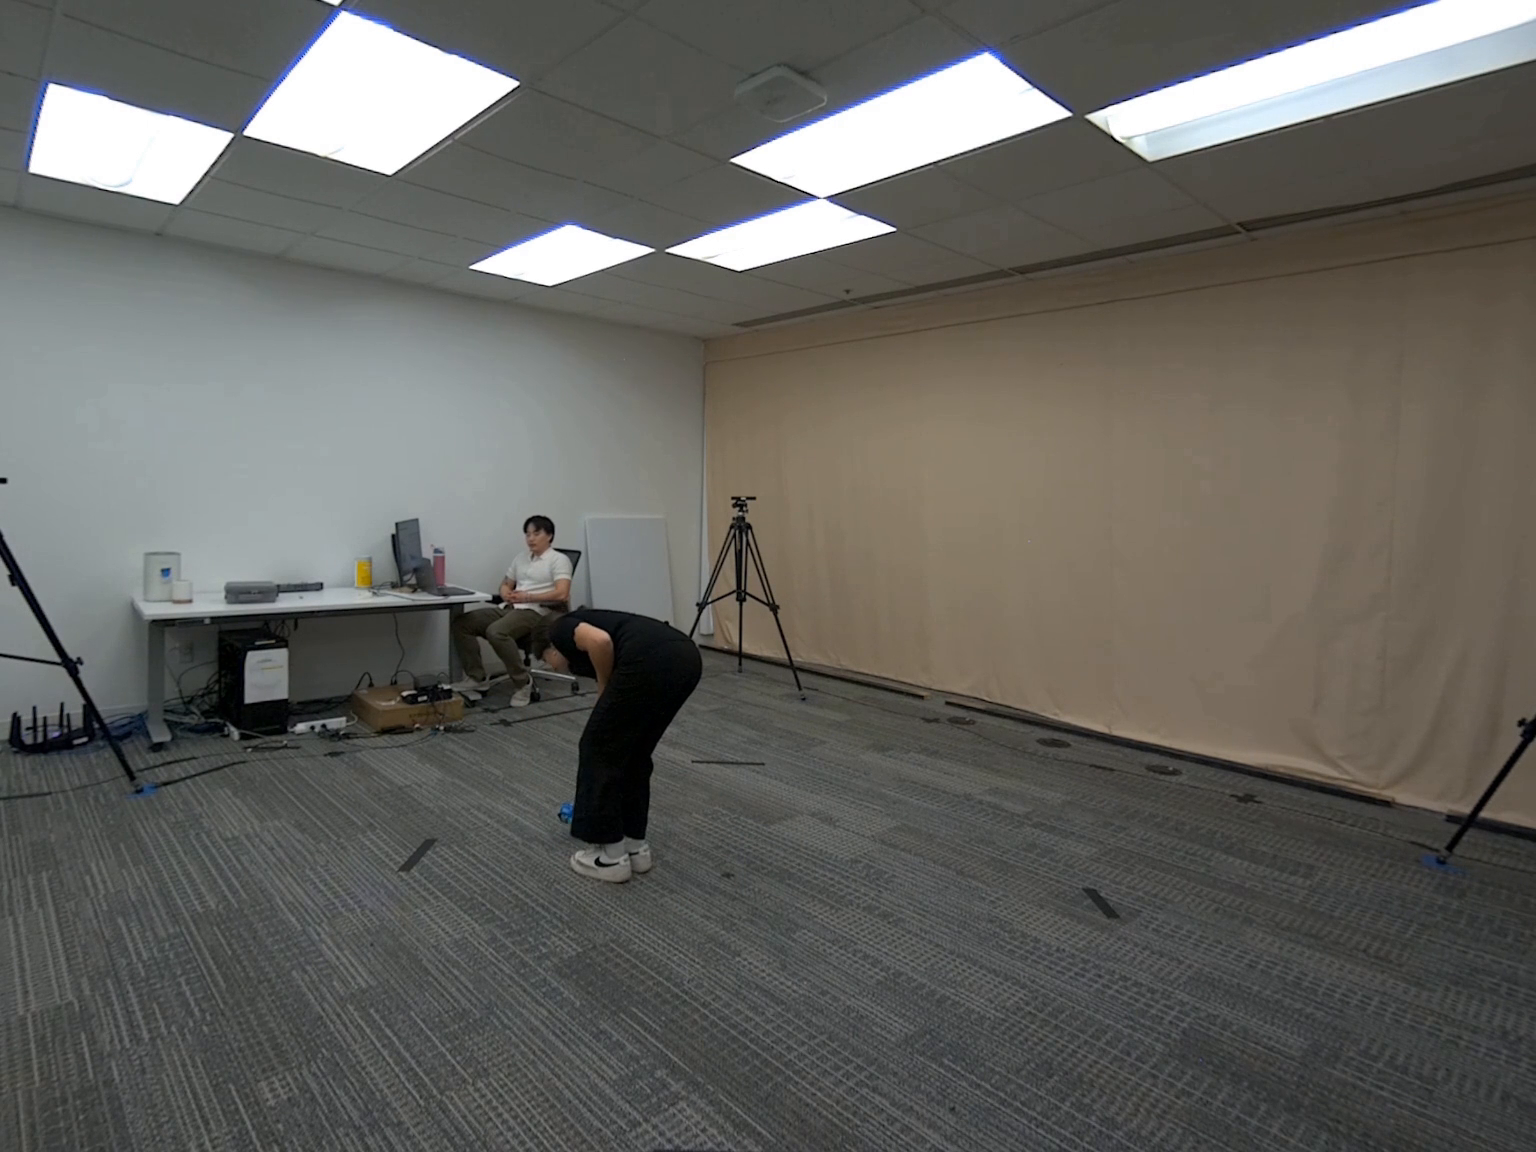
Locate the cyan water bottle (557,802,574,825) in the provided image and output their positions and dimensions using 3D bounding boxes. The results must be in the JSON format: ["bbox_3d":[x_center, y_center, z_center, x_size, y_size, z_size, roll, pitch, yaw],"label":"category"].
[{"bbox_3d":[-0.727,0.991,3.402,0.285,0.092,0.092,14,5,7],"label":"cyan water bottle"}]
